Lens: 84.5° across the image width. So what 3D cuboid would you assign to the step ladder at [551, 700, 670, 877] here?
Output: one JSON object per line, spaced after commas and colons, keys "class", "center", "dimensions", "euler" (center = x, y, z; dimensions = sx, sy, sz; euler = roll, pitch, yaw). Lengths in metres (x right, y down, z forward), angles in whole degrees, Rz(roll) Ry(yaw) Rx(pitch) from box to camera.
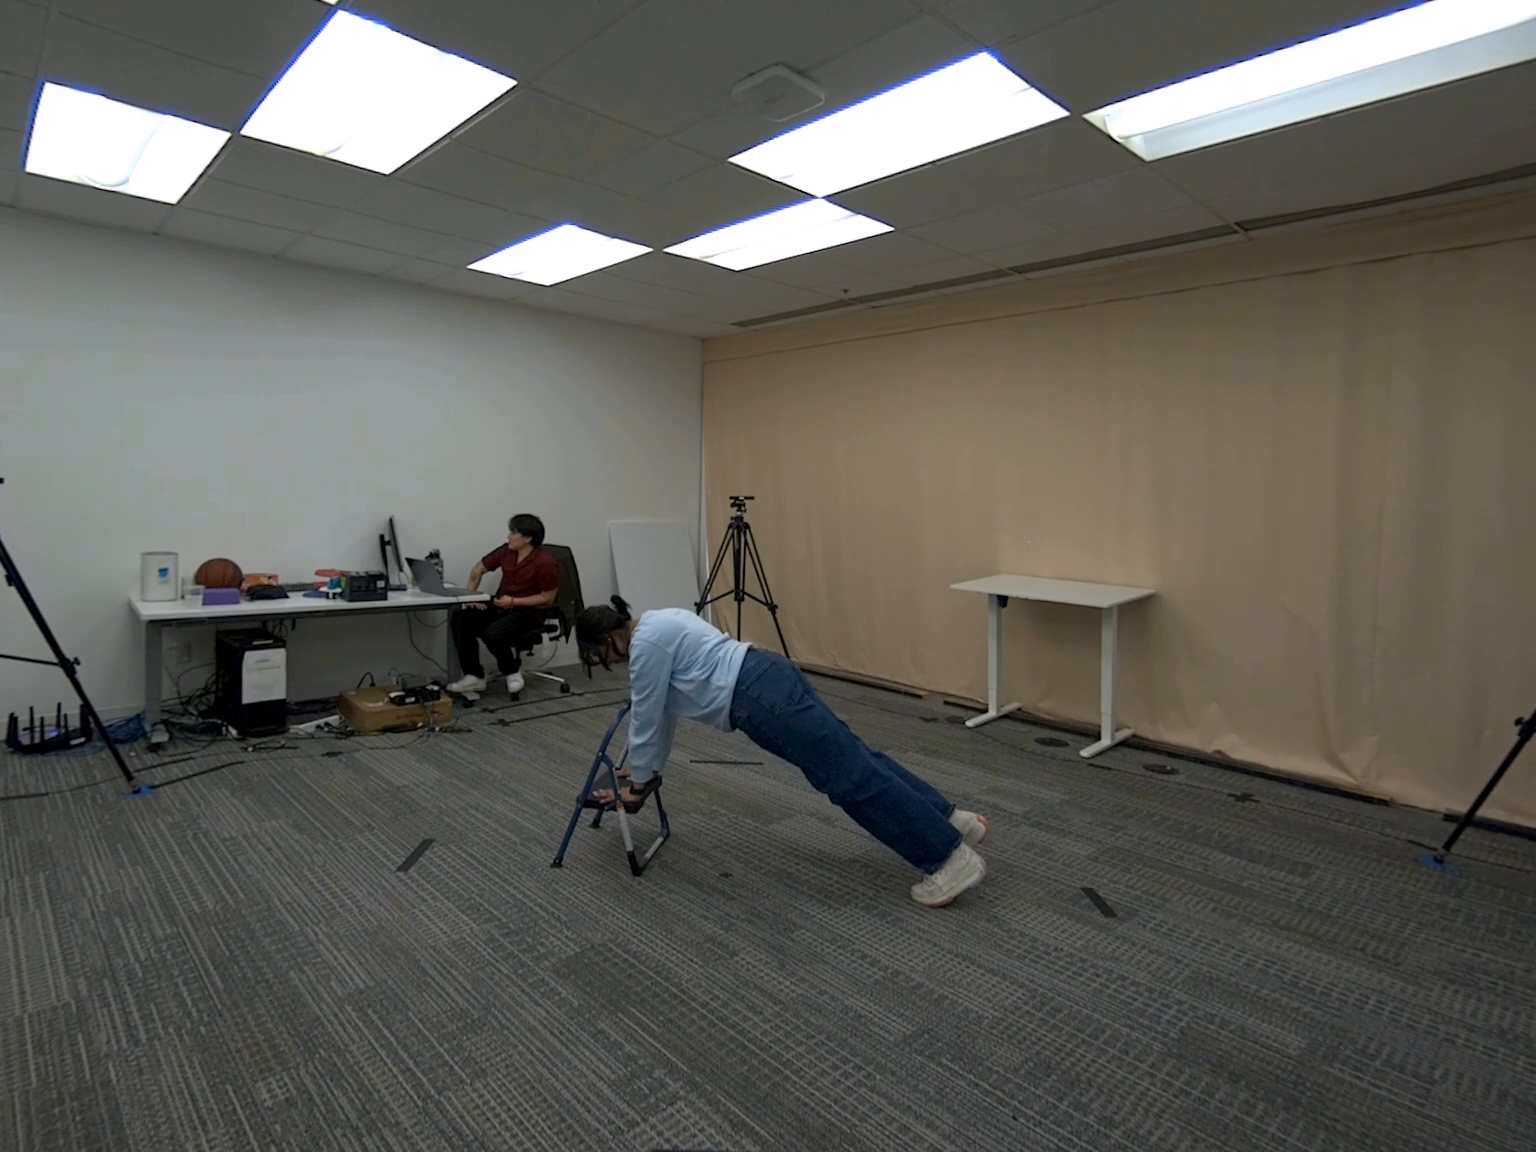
{"class": "step ladder", "center": [-0.602, 0.772, 3.290], "dimensions": [0.352, 0.604, 0.428], "euler": [2, 4, 10]}
